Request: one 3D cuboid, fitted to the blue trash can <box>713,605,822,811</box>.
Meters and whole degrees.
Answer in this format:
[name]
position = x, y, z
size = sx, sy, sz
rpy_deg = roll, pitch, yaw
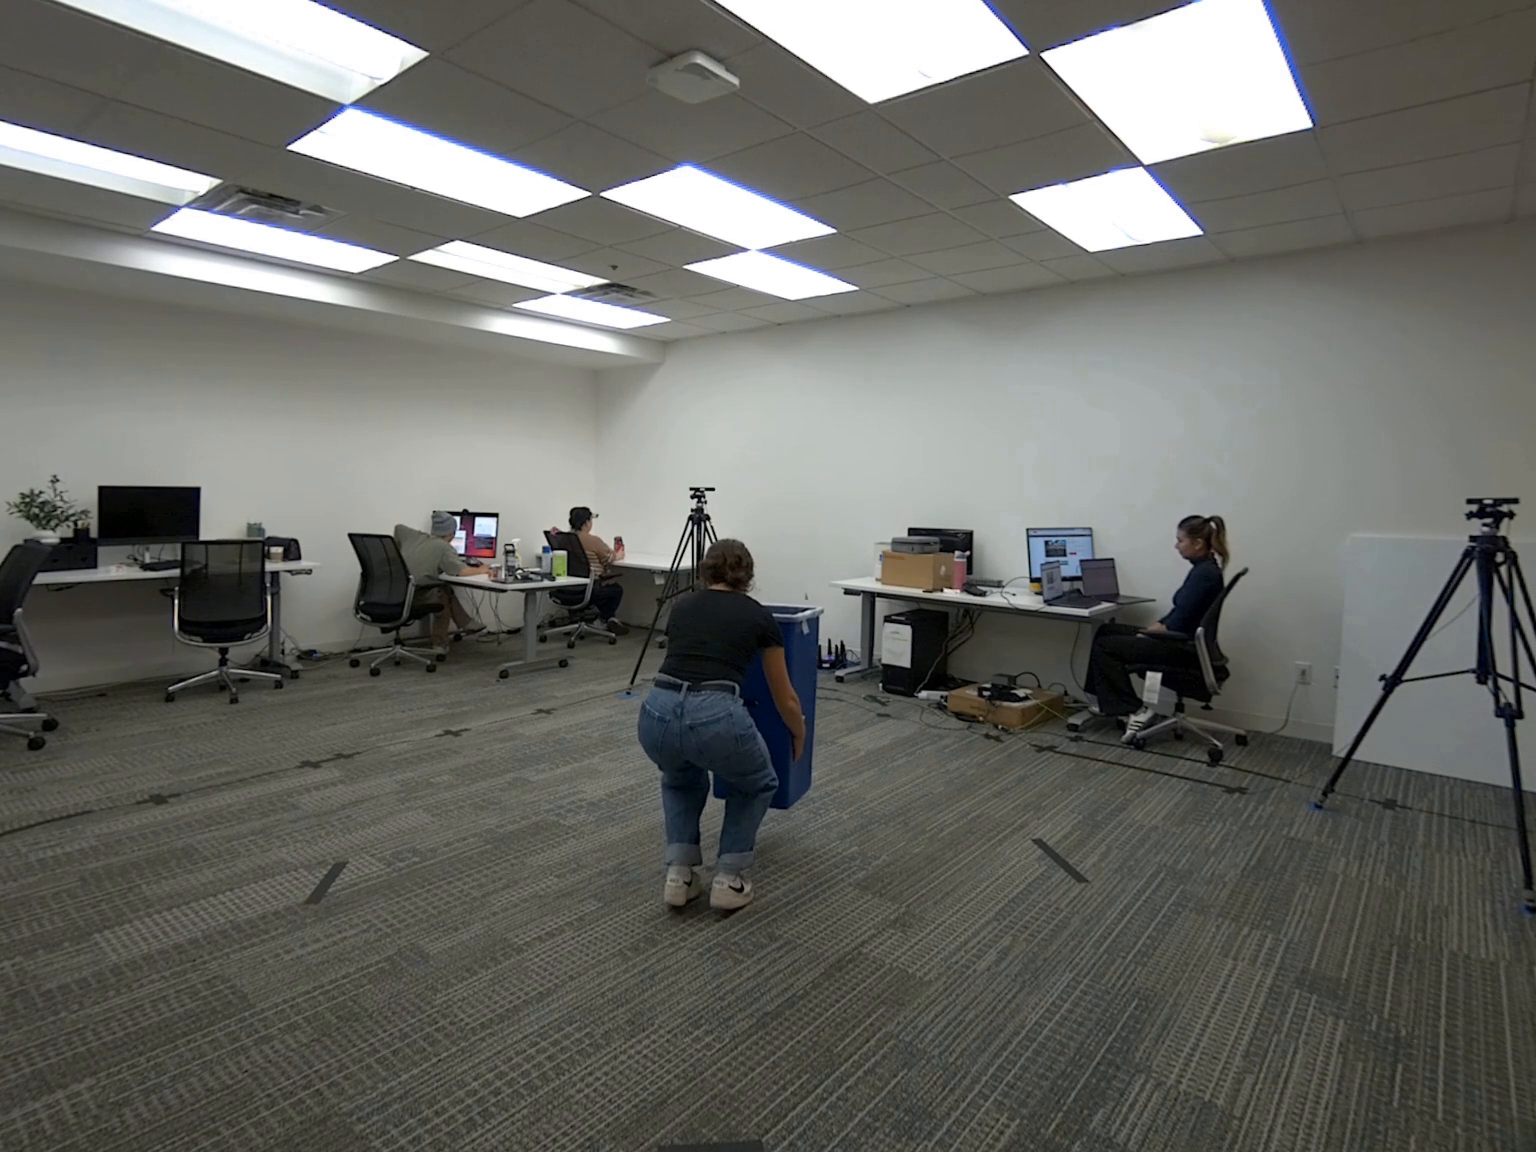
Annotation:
[blue trash can]
position = -0.027, 0.472, 3.282
size = 0.383, 0.713, 0.370
rpy_deg = 3, 2, 22
